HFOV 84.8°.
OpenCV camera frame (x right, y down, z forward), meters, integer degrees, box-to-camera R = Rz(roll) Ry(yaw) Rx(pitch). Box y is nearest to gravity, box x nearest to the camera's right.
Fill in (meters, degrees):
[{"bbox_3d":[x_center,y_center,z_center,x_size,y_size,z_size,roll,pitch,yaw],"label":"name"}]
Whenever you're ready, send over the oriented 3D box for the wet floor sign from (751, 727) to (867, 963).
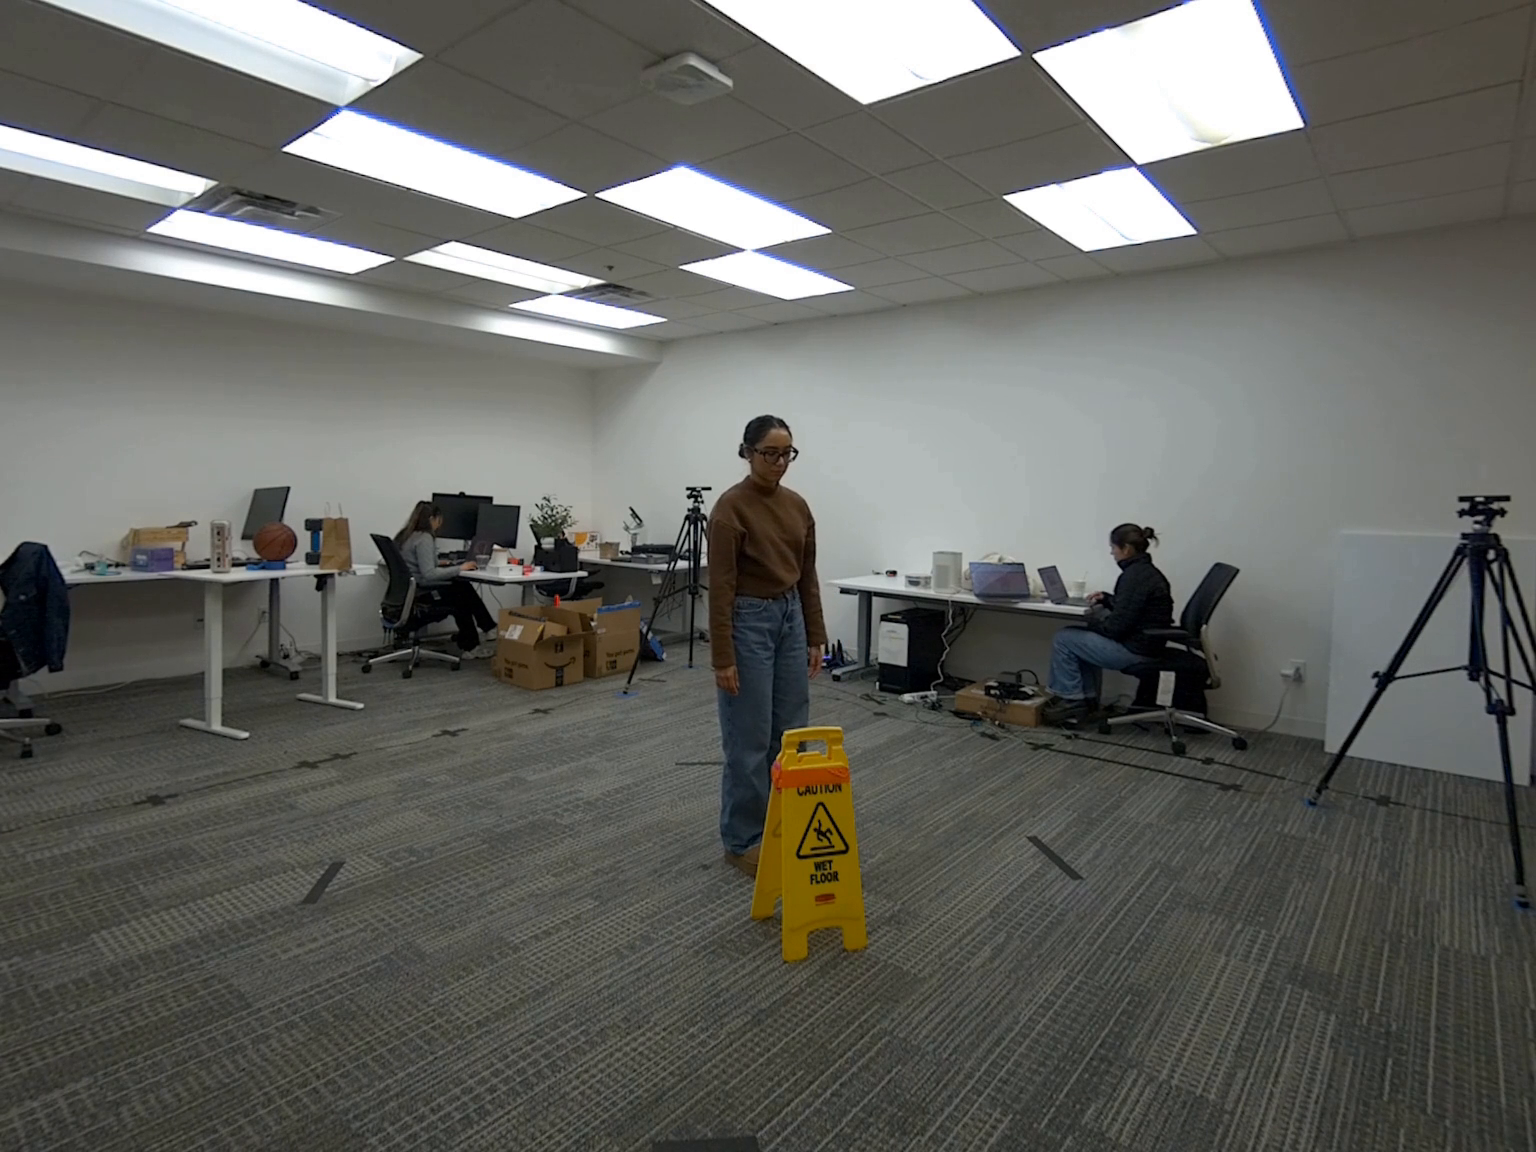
[{"bbox_3d":[0.123,0.791,2.653,0.276,0.644,0.297,-1,4,-21],"label":"wet floor sign"}]
